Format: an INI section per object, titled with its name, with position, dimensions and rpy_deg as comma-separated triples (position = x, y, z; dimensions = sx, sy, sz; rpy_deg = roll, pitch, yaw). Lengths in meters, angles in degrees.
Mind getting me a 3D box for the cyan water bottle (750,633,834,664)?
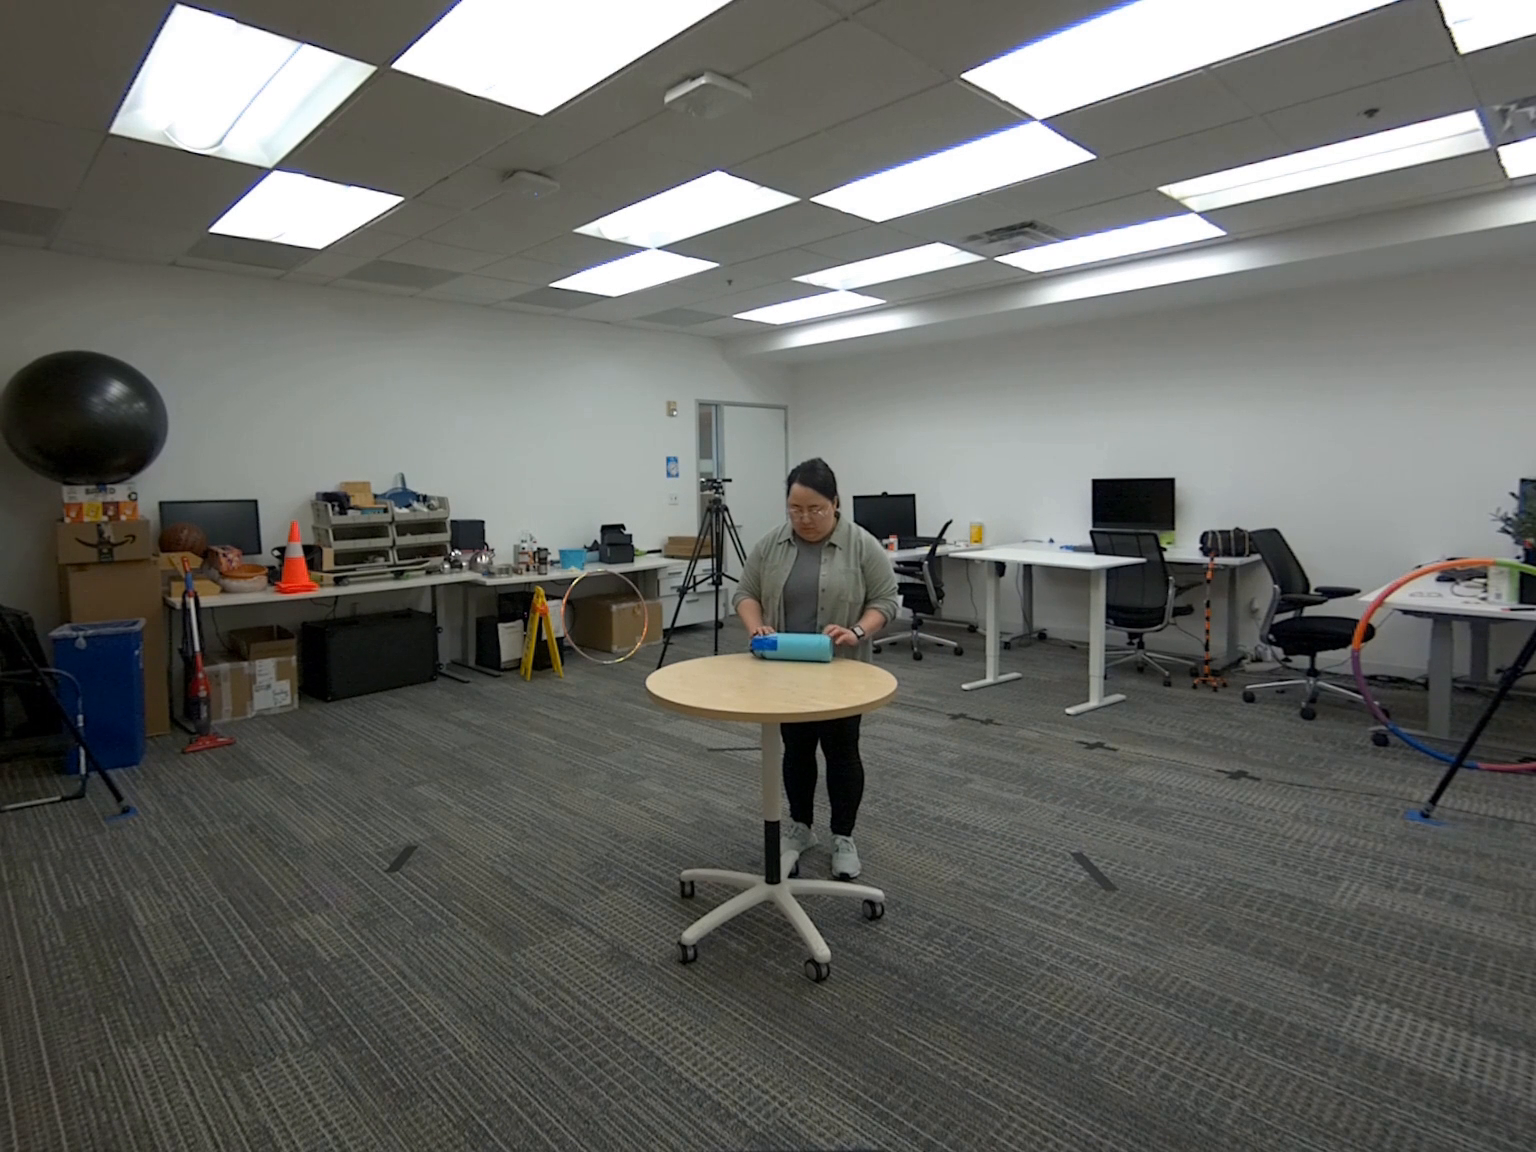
[cyan water bottle]
position = 0.077, 0.242, 2.885
dimensions = 0.287, 0.092, 0.091
rpy_deg = 1, 5, 13
